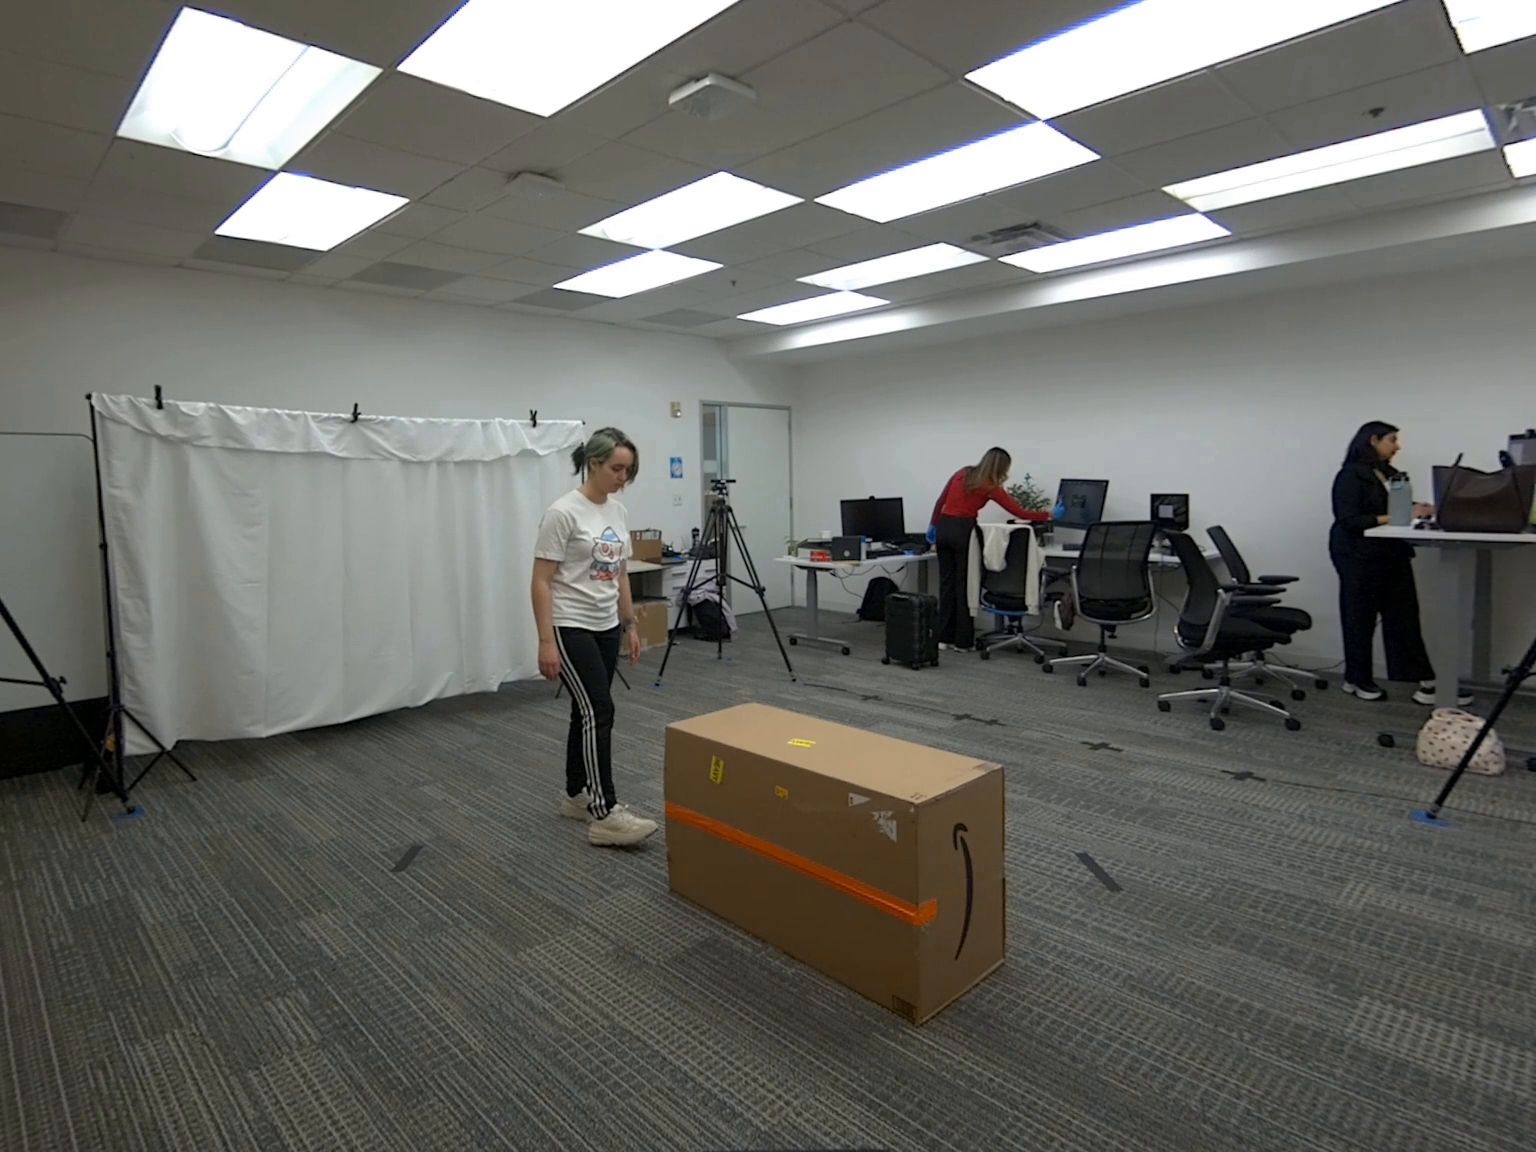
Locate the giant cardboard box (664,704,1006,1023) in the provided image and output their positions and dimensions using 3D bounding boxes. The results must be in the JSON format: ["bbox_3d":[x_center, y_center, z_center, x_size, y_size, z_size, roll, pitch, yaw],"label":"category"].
[{"bbox_3d":[0.166,0.806,2.669,0.435,0.581,1.059,-6,7,-44],"label":"giant cardboard box"}]
